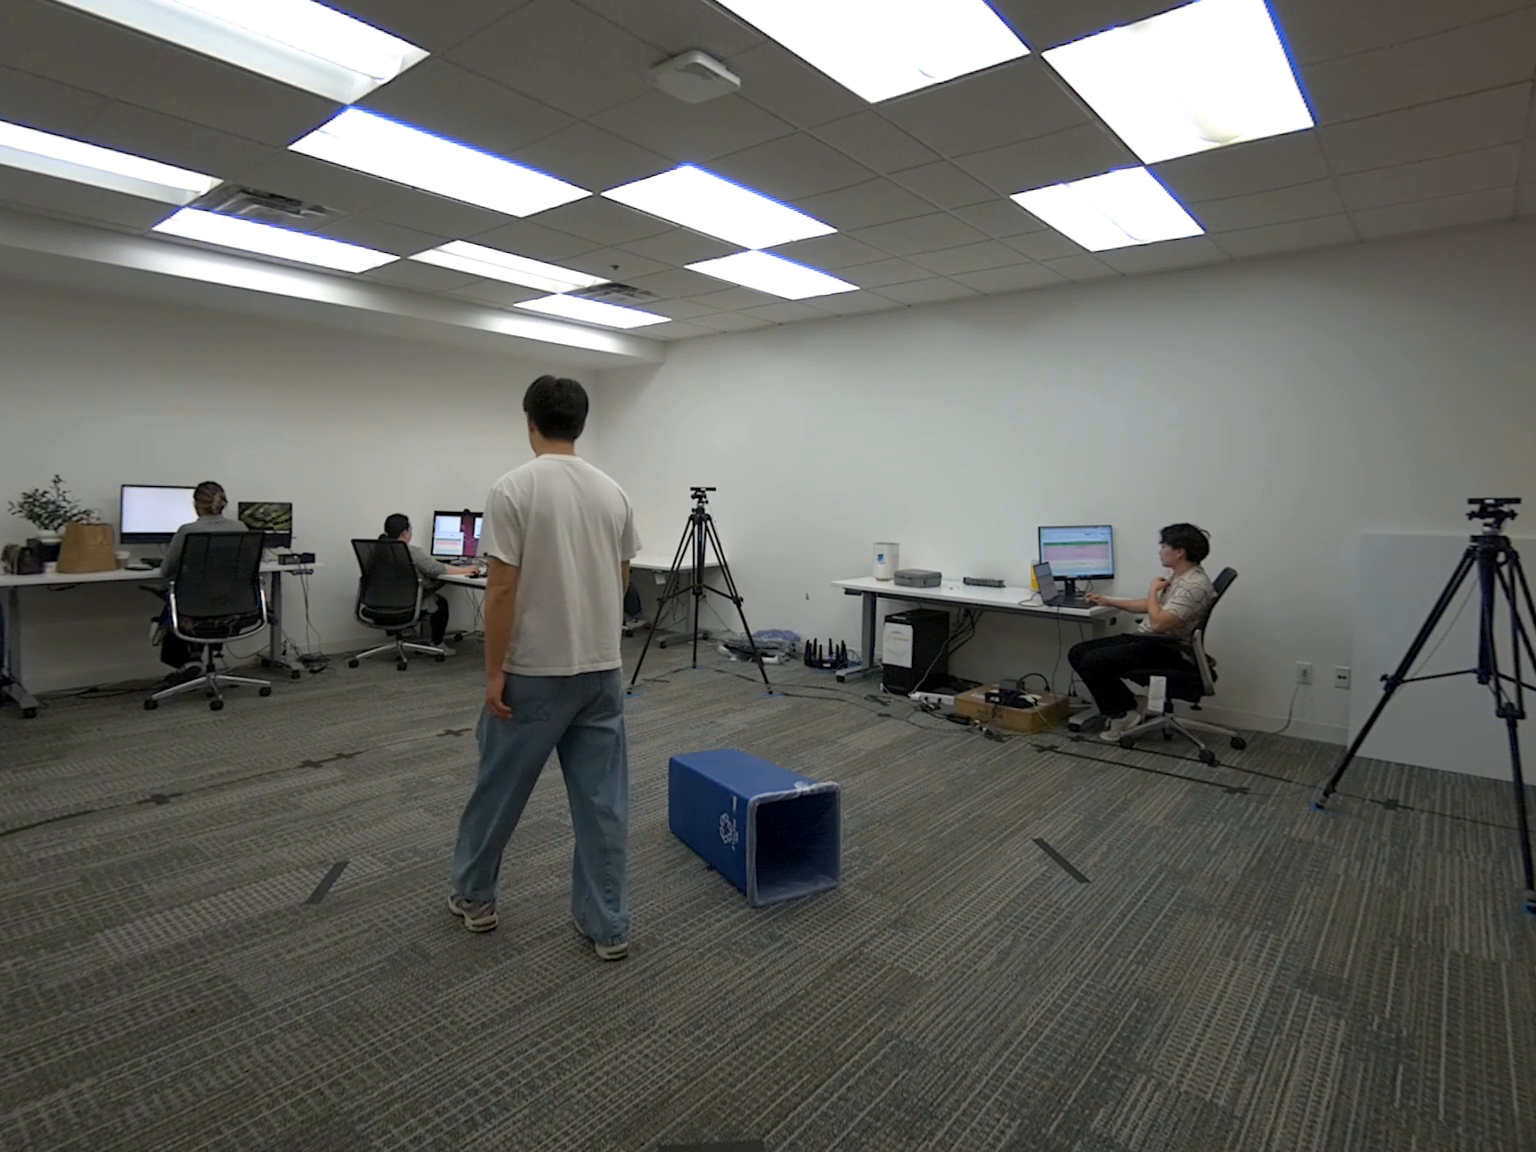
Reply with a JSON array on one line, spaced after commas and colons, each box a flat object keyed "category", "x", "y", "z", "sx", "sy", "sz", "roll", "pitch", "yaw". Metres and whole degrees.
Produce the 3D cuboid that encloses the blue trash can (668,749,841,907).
[{"category": "blue trash can", "x": -0.103, "y": 0.895, "z": 3.198, "sx": 0.364, "sy": 0.377, "sz": 0.734, "roll": -2, "pitch": 3, "yaw": -32}]
